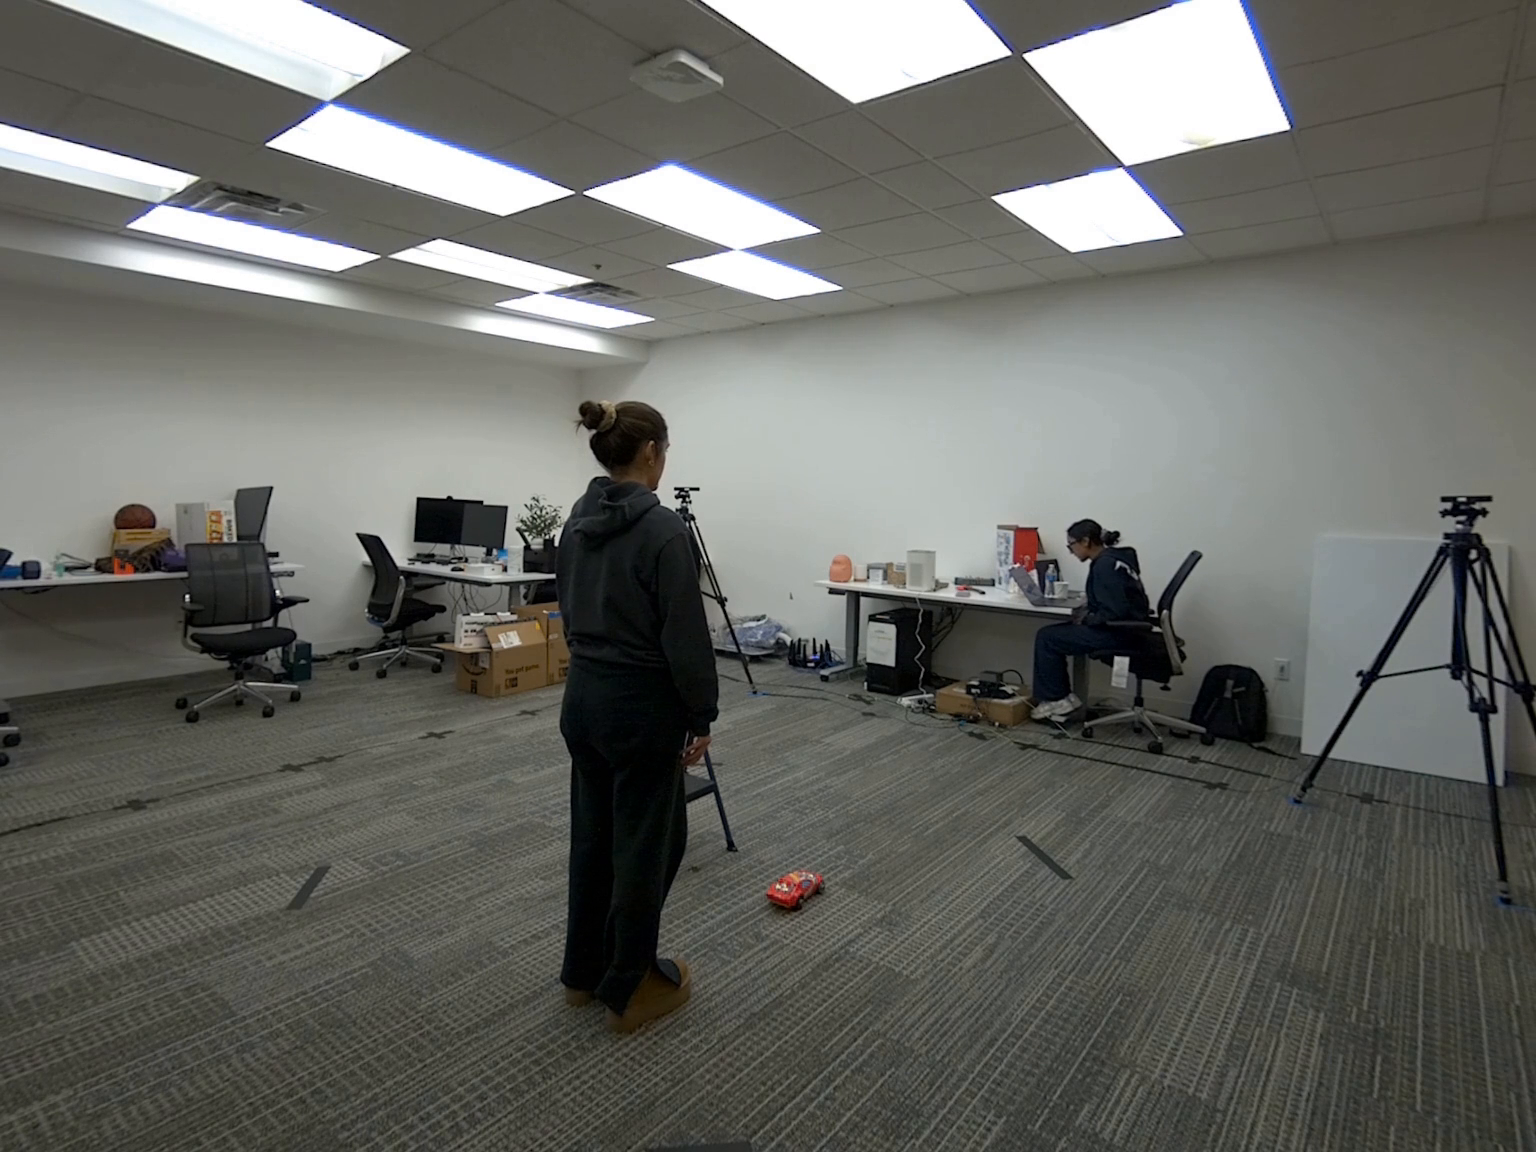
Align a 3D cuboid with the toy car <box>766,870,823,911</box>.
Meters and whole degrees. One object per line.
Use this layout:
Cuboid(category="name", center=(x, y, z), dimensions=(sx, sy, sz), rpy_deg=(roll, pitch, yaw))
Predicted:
Cuboid(category="toy car", center=(0.092, 1.063, 2.889), dimensions=(0.134, 0.083, 0.245), rpy_deg=(5, -4, 35))
